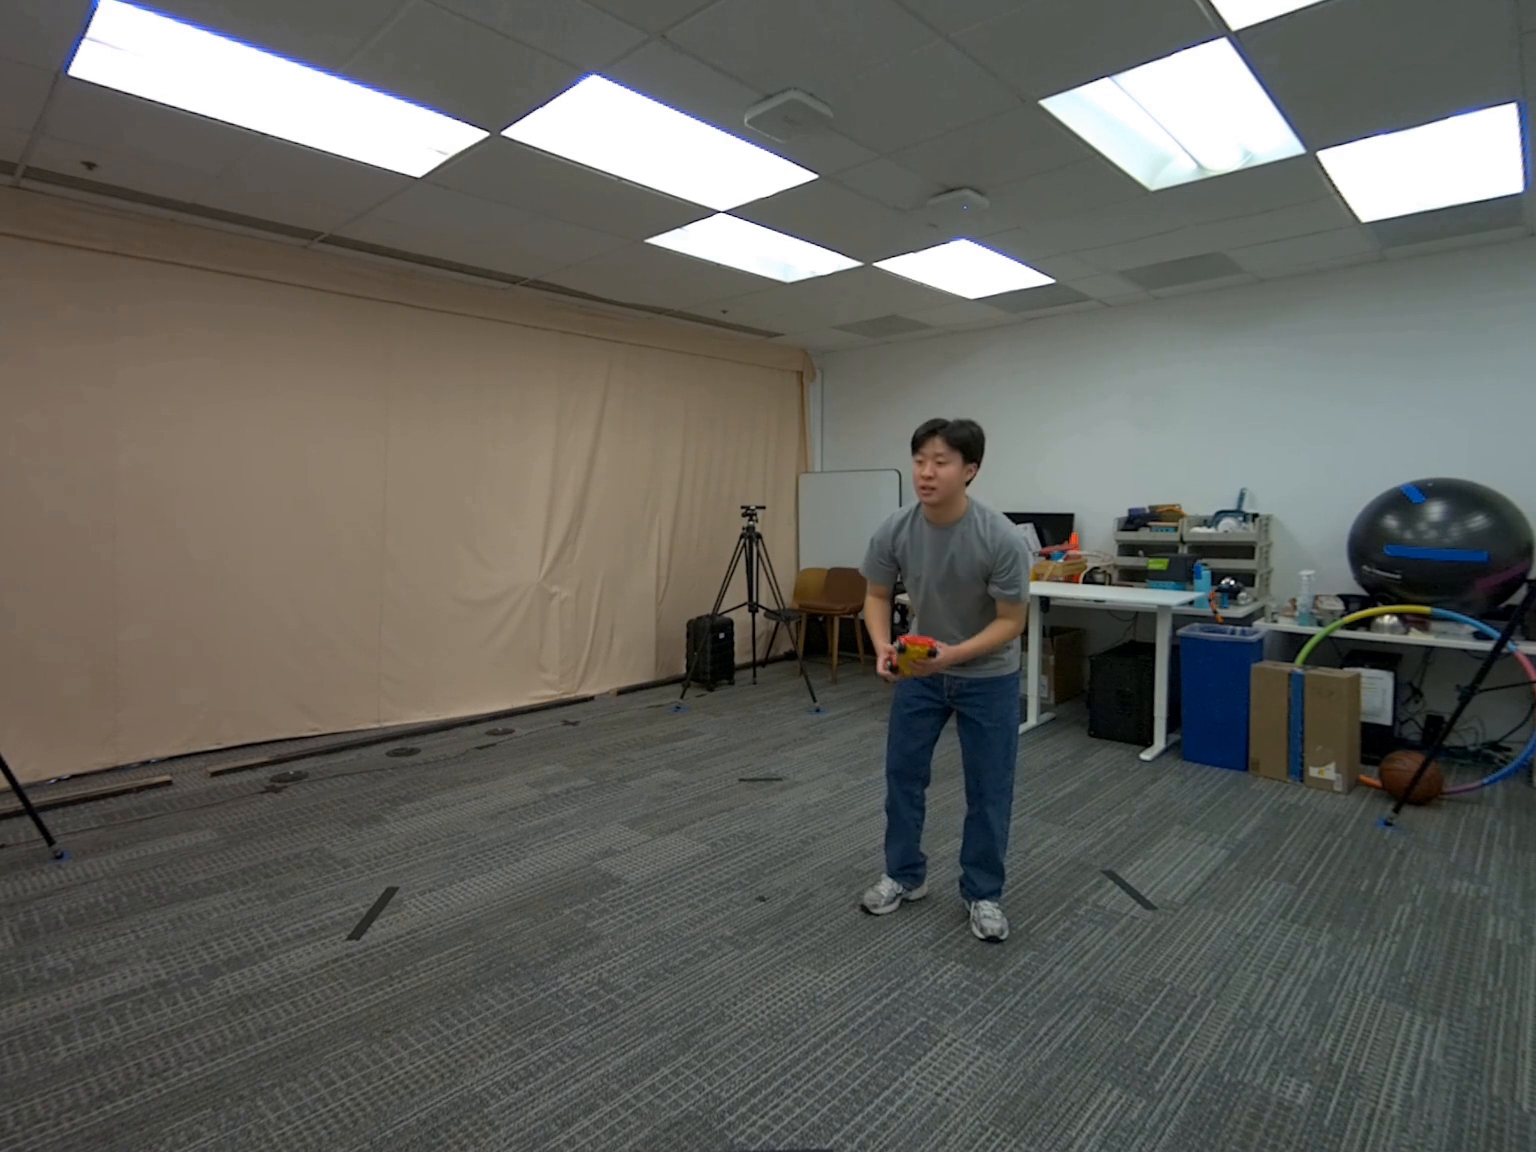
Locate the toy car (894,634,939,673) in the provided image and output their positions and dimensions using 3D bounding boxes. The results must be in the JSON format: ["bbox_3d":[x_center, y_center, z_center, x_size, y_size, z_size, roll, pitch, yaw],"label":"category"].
[{"bbox_3d":[0.441,0.282,2.507,0.128,0.082,0.262,-3,19,-20],"label":"toy car"}]
